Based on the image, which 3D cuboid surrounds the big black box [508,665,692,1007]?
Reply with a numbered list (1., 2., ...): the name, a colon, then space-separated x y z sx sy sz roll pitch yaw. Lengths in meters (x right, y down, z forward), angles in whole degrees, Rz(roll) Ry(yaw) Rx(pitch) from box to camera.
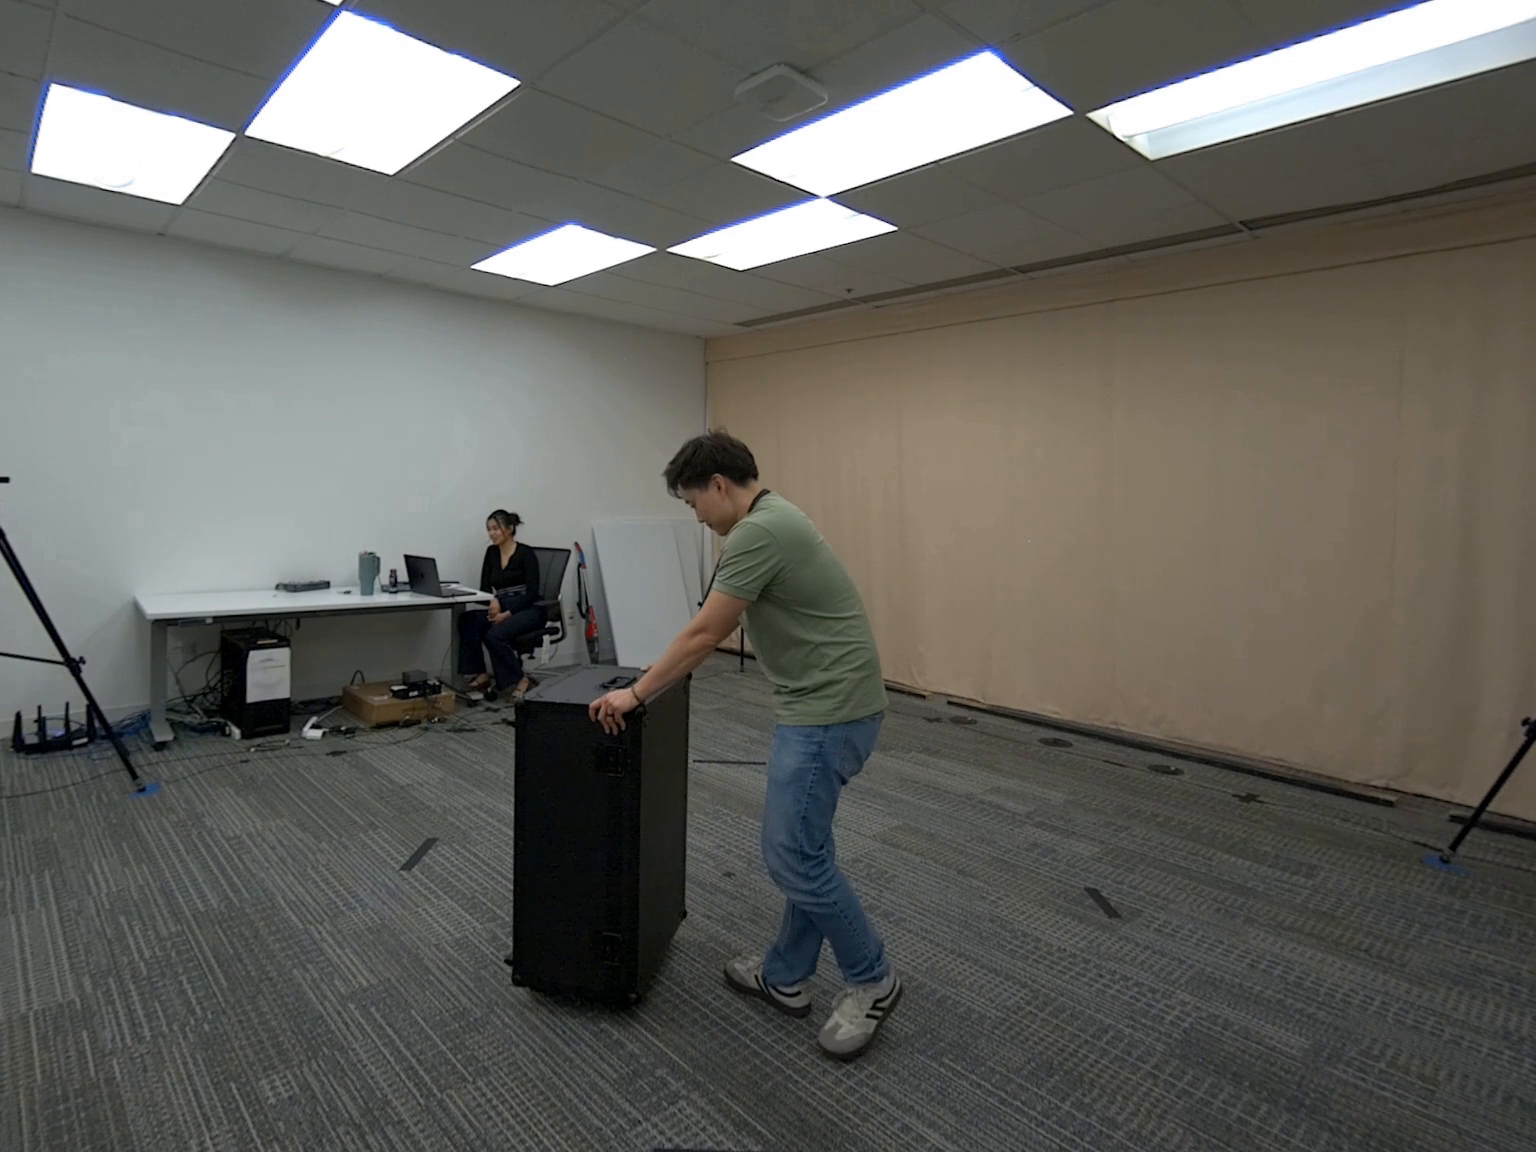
1. big black box: -0.482 0.737 2.426 0.400 0.859 0.518 1 4 11
